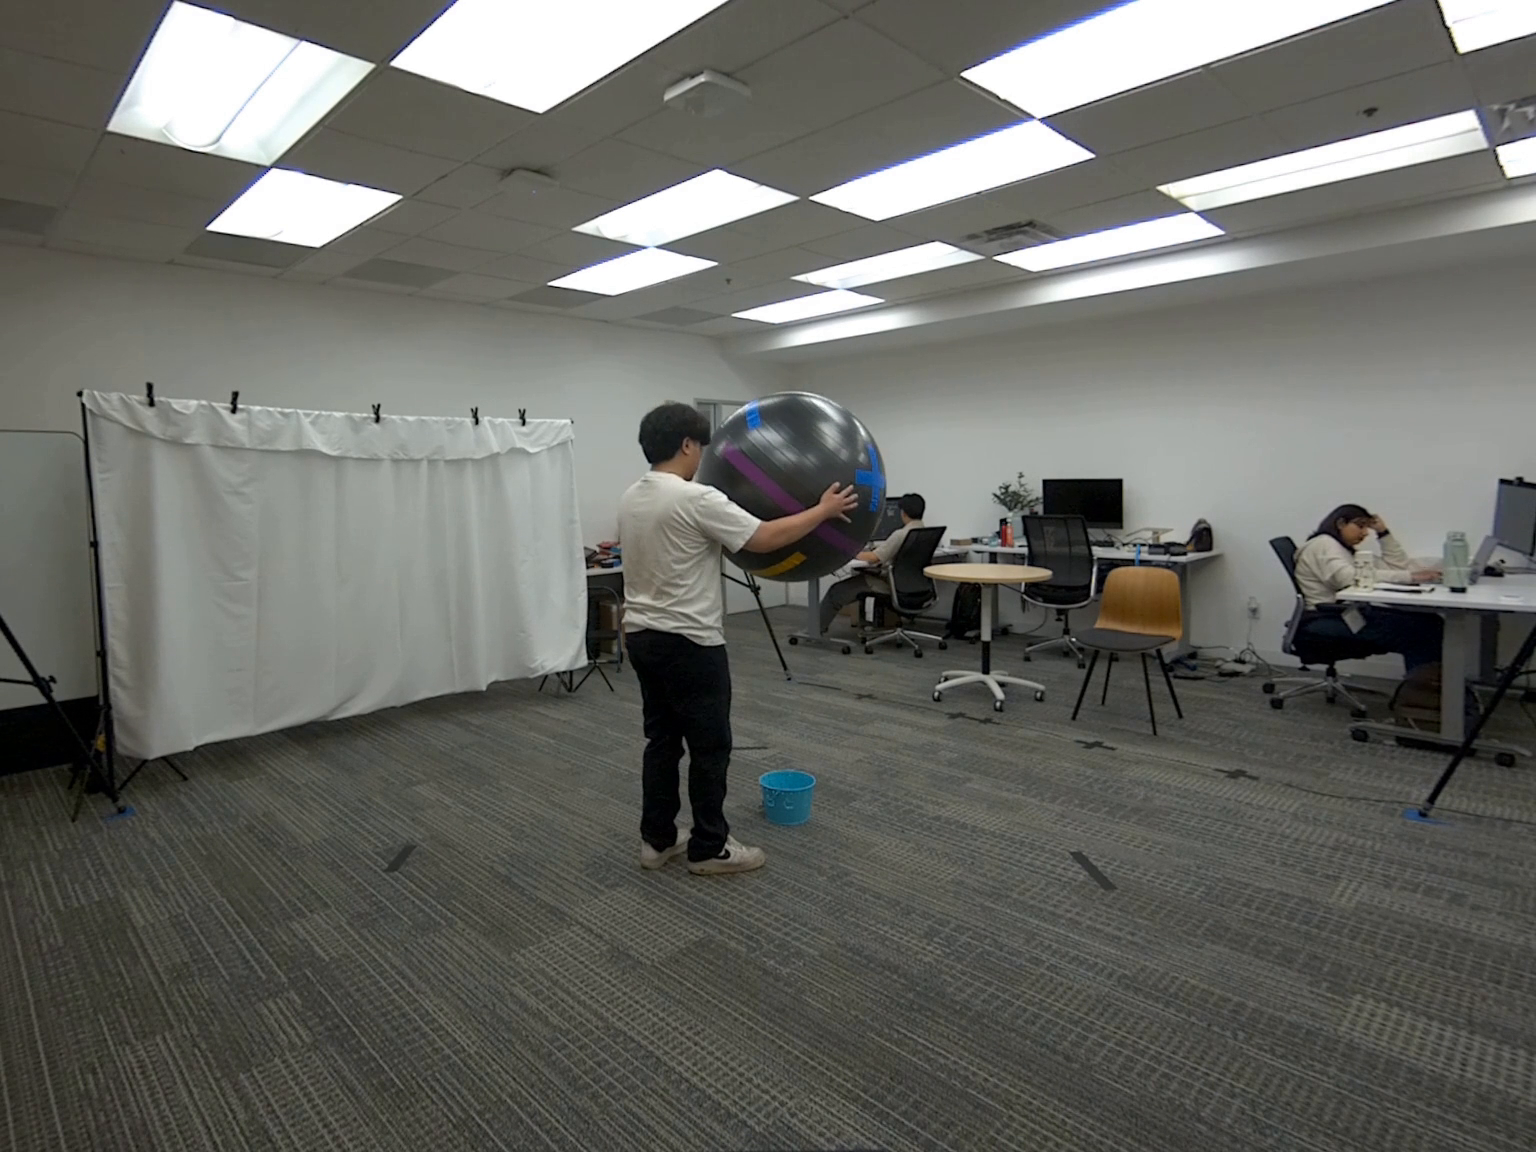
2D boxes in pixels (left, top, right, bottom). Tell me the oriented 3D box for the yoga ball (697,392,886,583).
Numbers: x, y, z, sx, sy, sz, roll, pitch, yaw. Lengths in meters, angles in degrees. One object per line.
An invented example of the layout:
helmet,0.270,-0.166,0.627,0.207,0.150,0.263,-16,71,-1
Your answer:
yoga ball,0.094,-0.351,3.442,0.757,0.755,0.762,-1,5,-2
